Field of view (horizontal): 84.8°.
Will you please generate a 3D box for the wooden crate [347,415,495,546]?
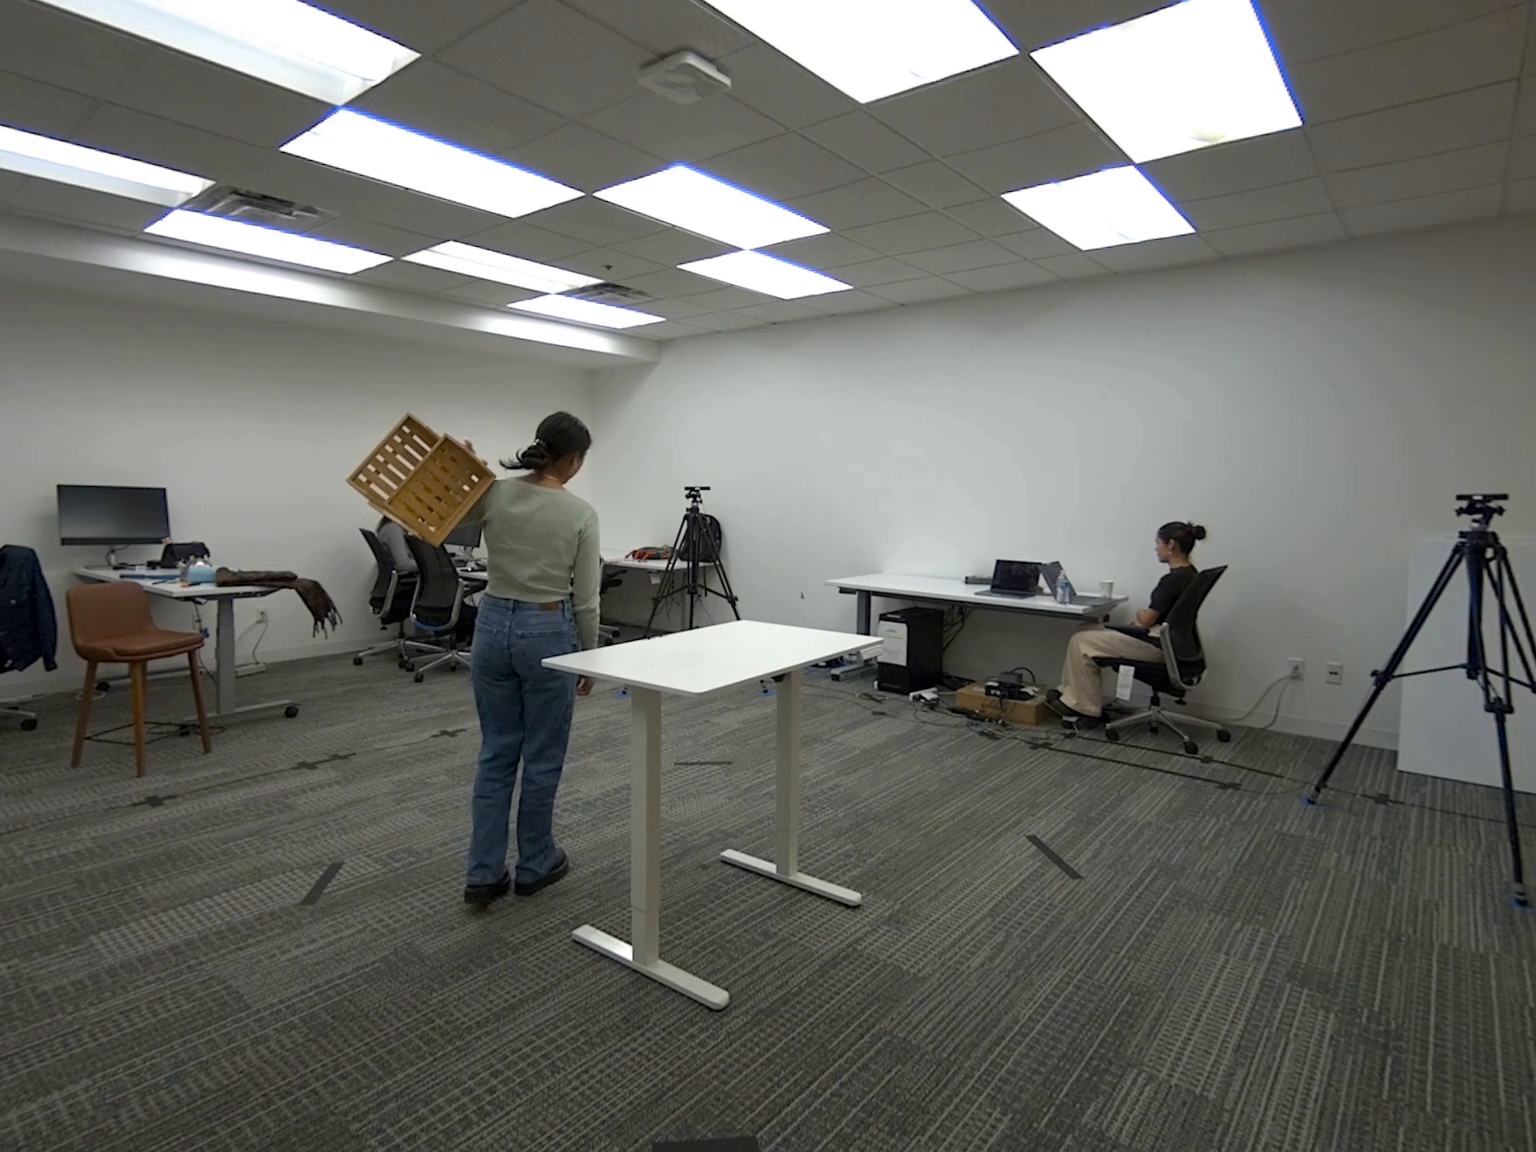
[{"bbox_3d":[-1.155,-0.326,2.790,0.284,0.325,0.290,17,-24,50],"label":"wooden crate"}]
